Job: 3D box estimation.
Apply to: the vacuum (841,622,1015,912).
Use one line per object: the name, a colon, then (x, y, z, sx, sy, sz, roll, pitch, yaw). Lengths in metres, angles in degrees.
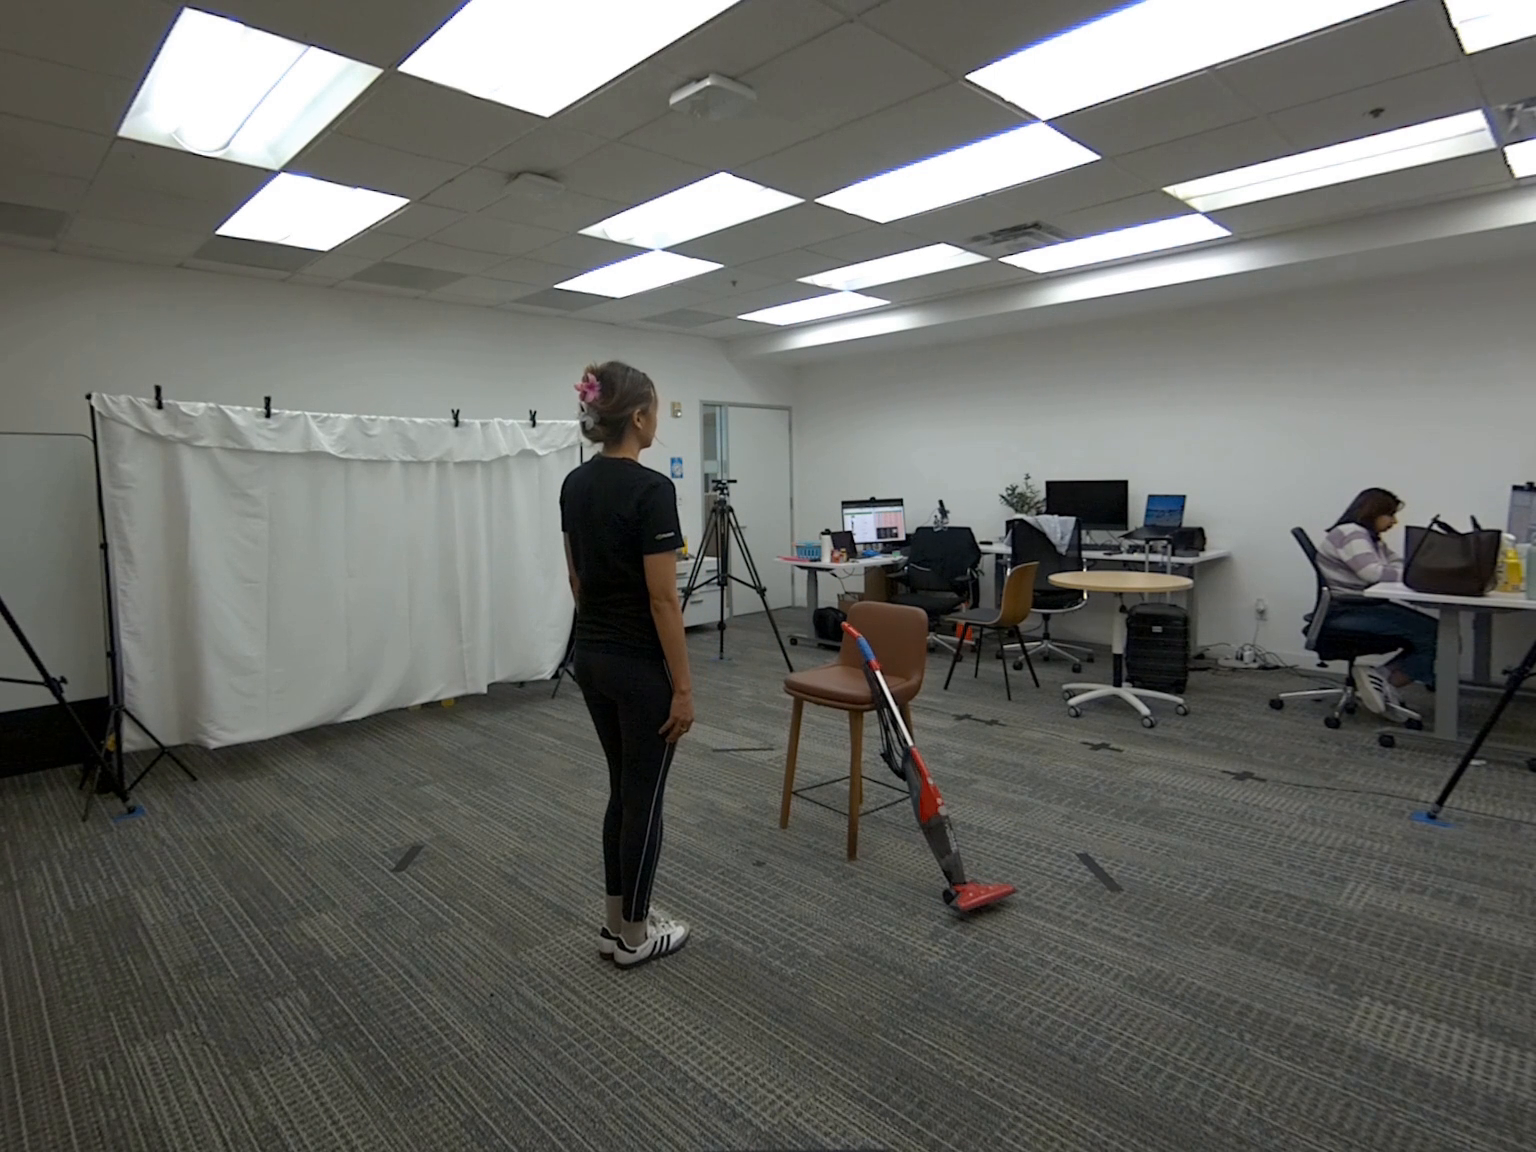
vacuum: (0.495, 0.629, 3.019, 0.245, 1.083, 0.143, 0, -37, -36)
